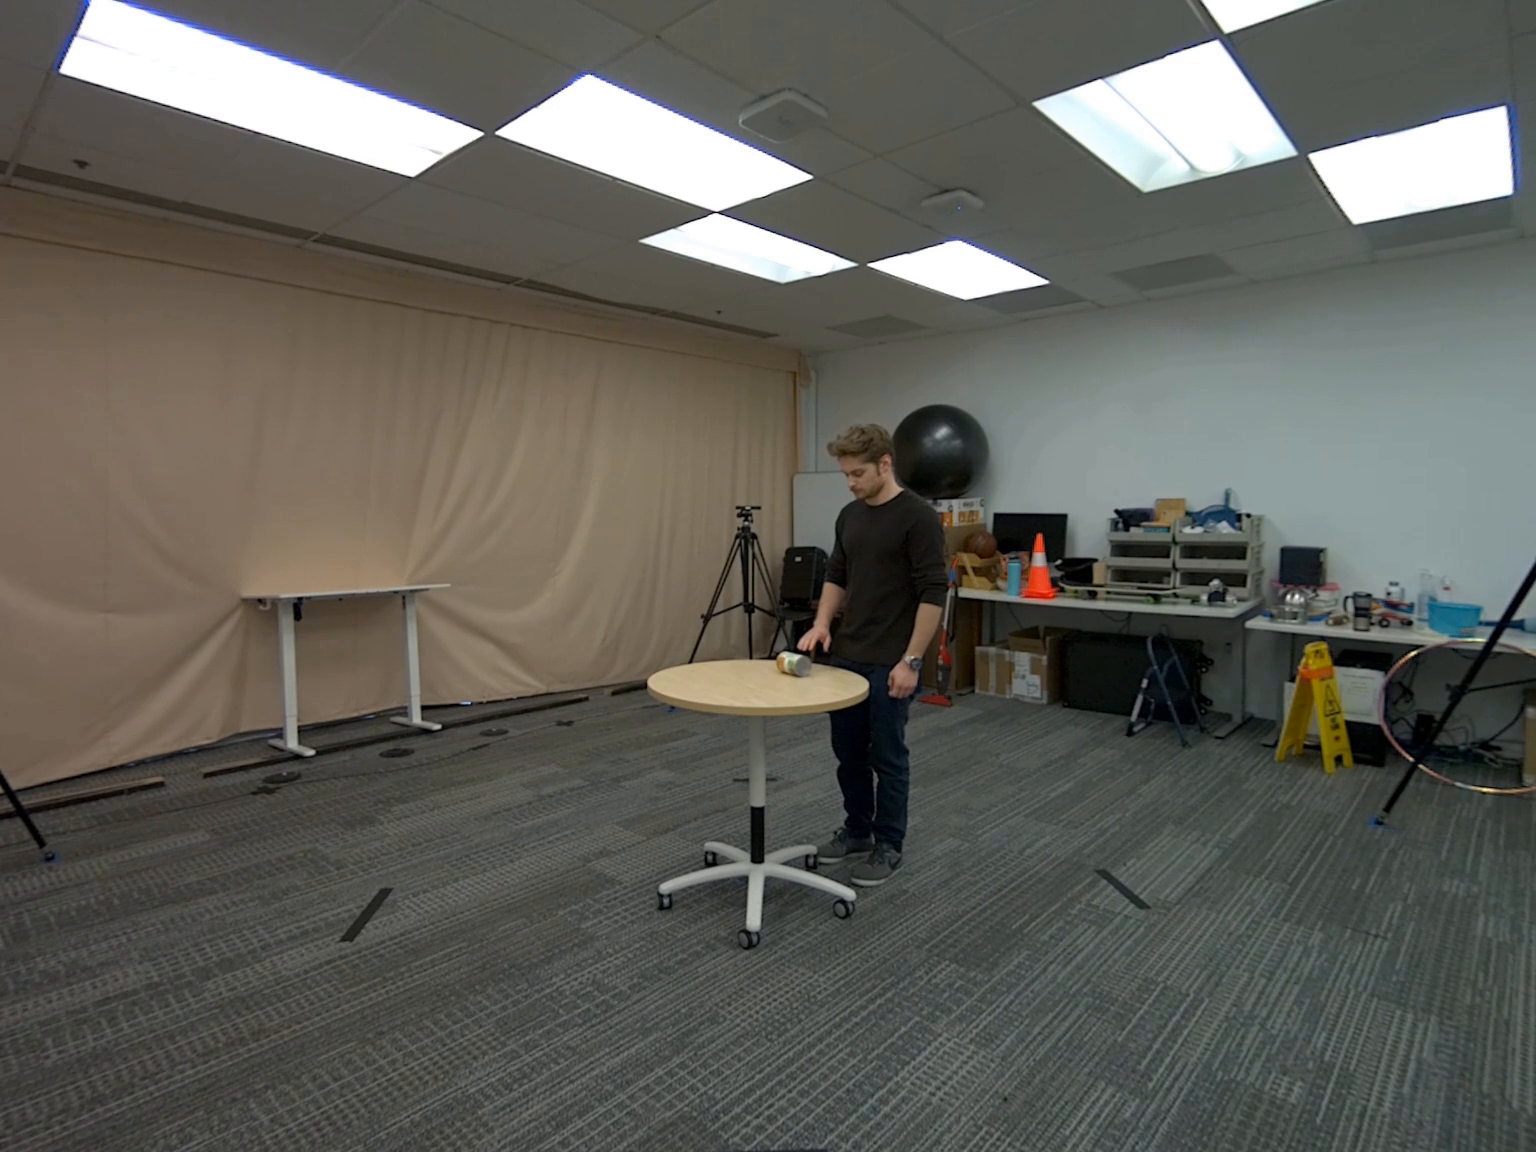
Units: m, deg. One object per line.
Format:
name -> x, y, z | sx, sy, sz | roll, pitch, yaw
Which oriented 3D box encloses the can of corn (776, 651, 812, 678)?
can of corn -> 0.093, 0.317, 3.037 | 0.072, 0.074, 0.114 | -2, 6, -33
